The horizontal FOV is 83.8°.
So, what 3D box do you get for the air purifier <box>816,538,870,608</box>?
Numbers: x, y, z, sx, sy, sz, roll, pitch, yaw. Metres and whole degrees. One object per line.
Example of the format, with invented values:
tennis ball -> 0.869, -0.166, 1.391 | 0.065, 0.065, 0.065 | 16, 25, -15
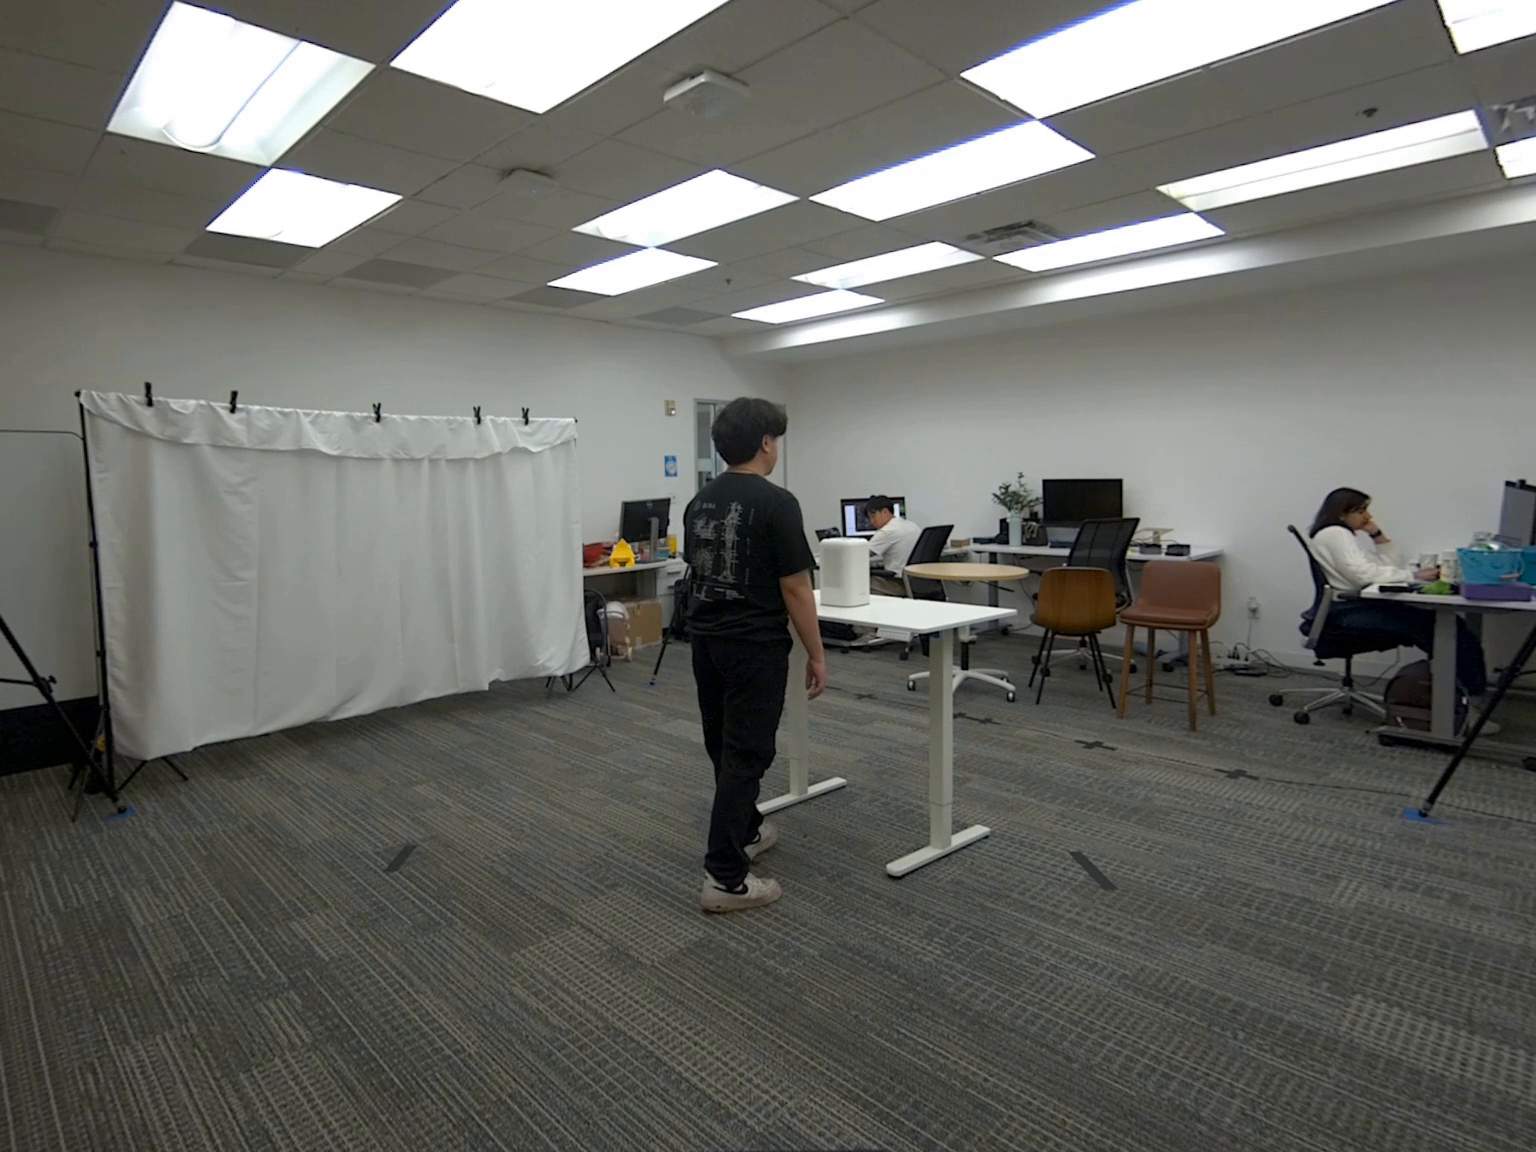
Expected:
air purifier -> 0.316, -0.018, 3.446 | 0.177, 0.264, 0.166 | 3, 5, 43
